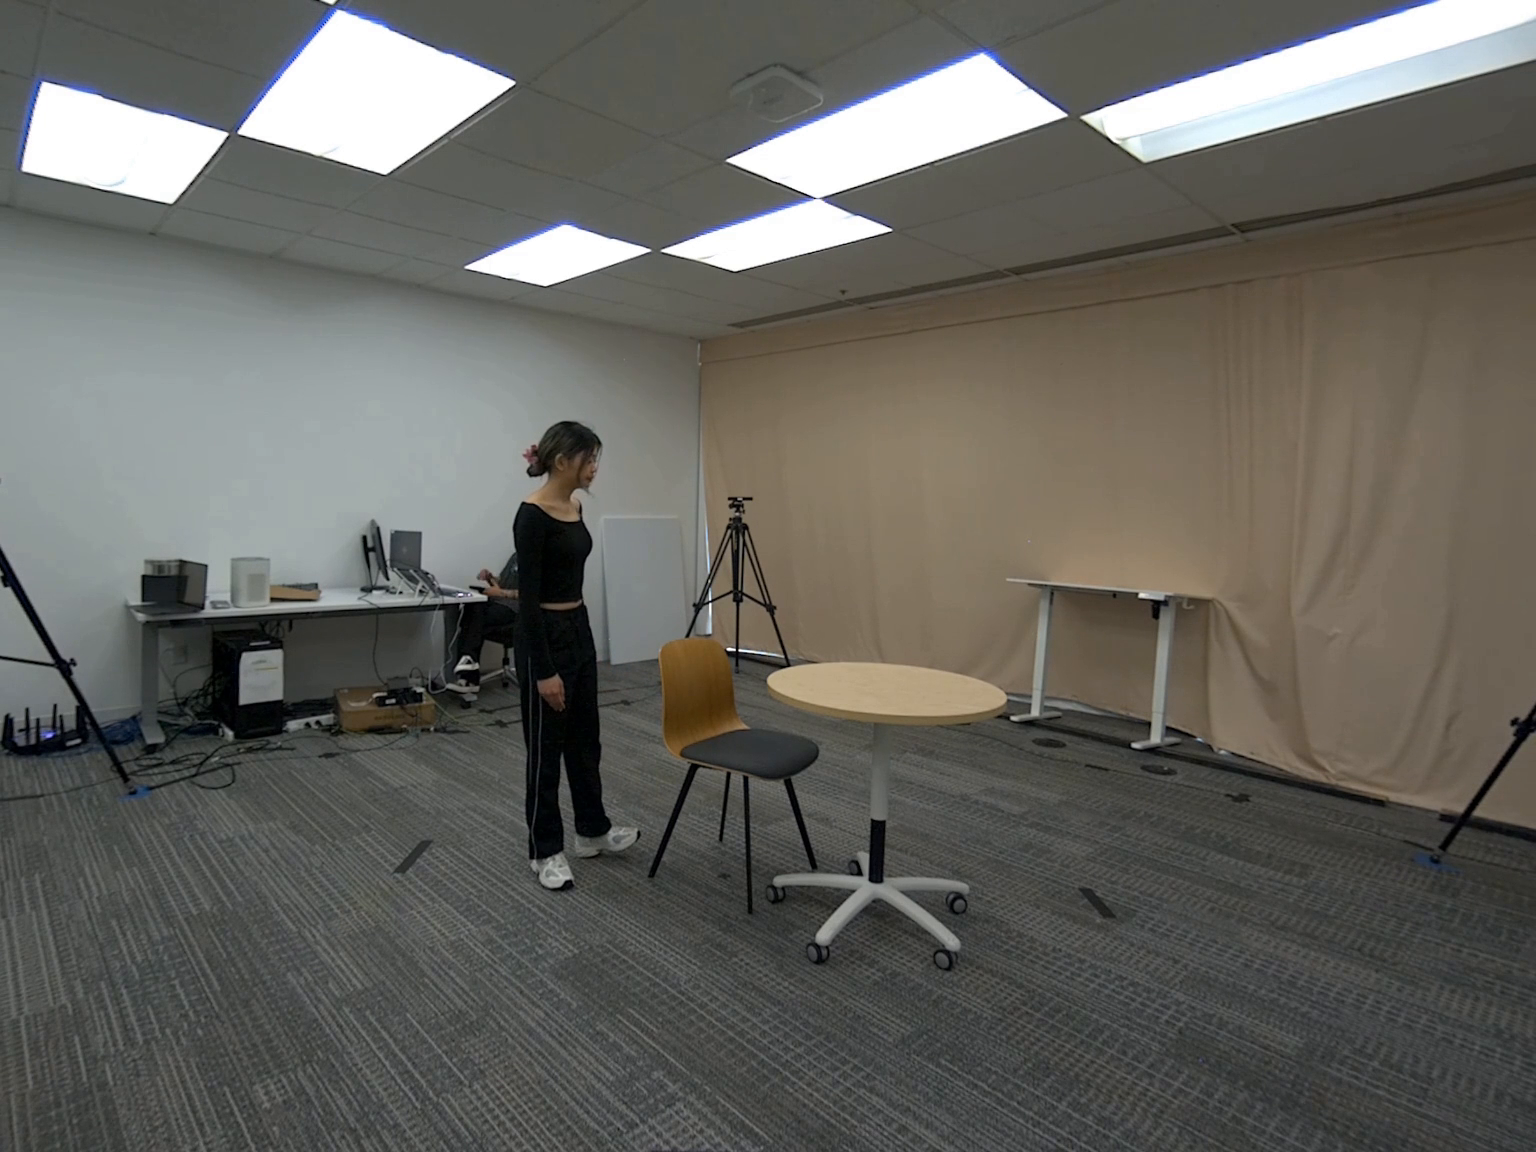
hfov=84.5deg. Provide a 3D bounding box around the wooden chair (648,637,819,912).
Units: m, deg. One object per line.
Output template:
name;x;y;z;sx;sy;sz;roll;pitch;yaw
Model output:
wooden chair;-0.113;0.679;3.094;0.534;0.877;0.468;-2;1;35
